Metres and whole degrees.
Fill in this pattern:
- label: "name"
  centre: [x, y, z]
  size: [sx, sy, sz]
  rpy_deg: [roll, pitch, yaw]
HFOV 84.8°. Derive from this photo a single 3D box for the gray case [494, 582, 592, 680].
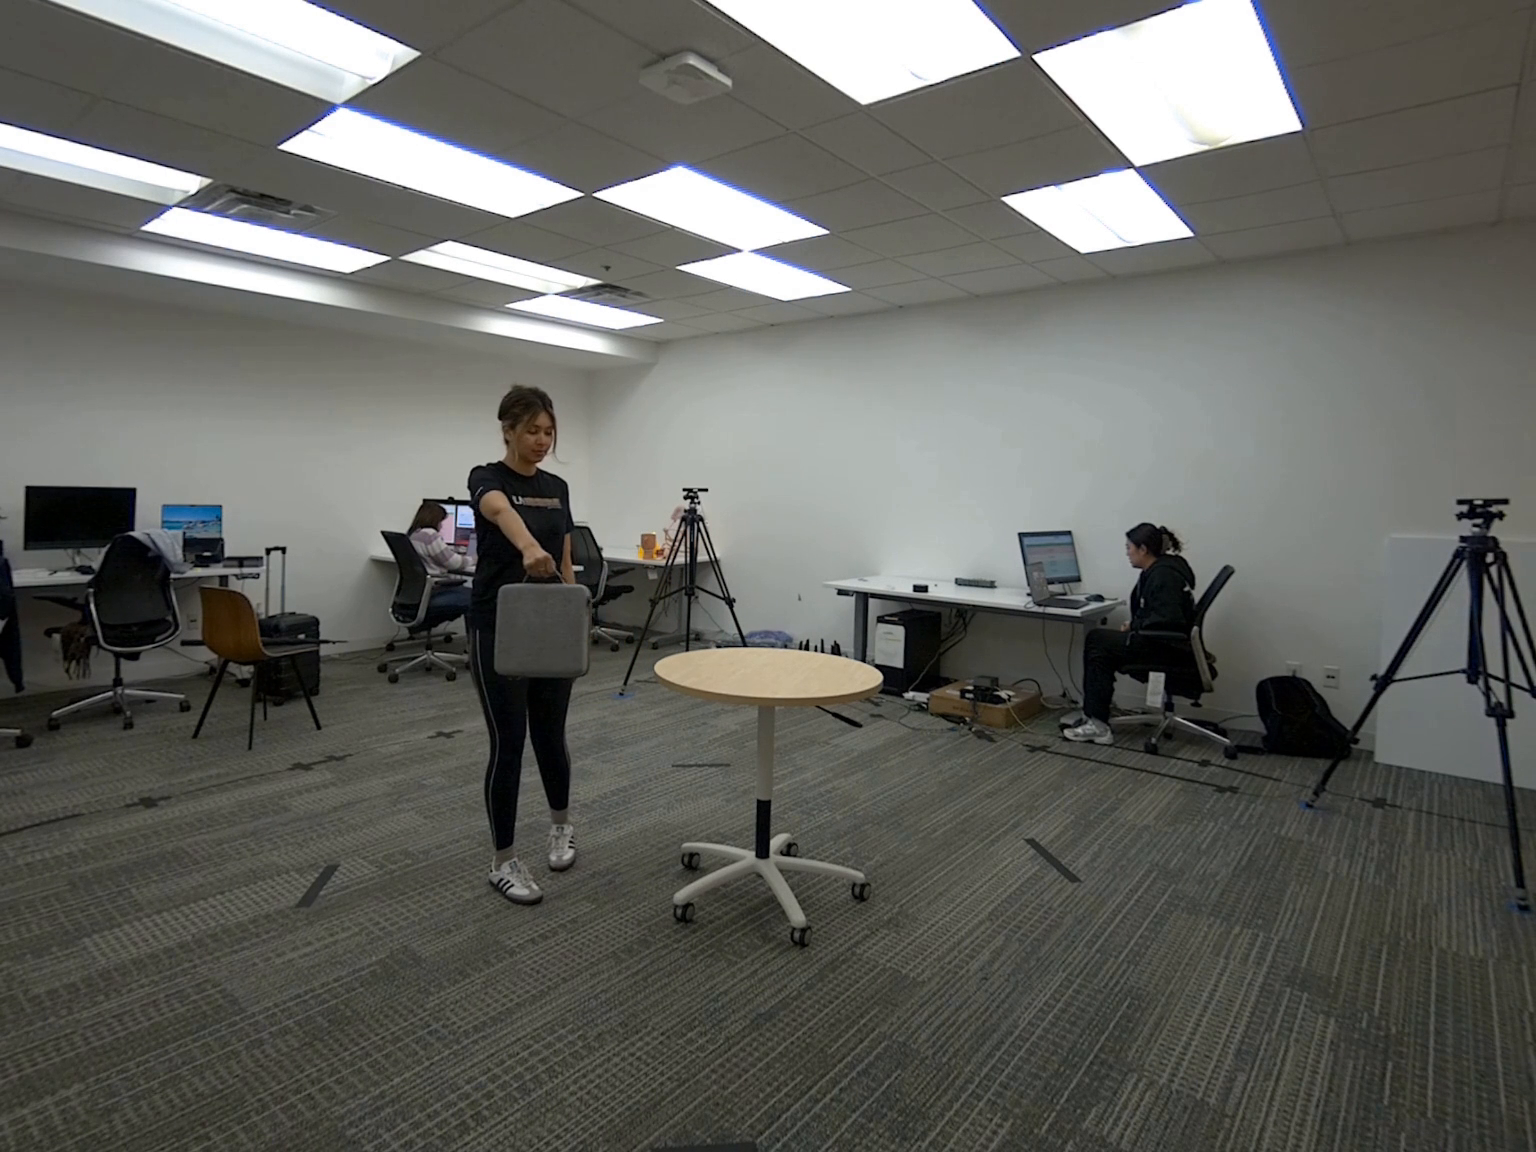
- label: "gray case"
  centre: [-0.627, 0.144, 2.360]
  size: [0.259, 0.263, 0.103]
  rpy_deg: [-1, -8, 6]
